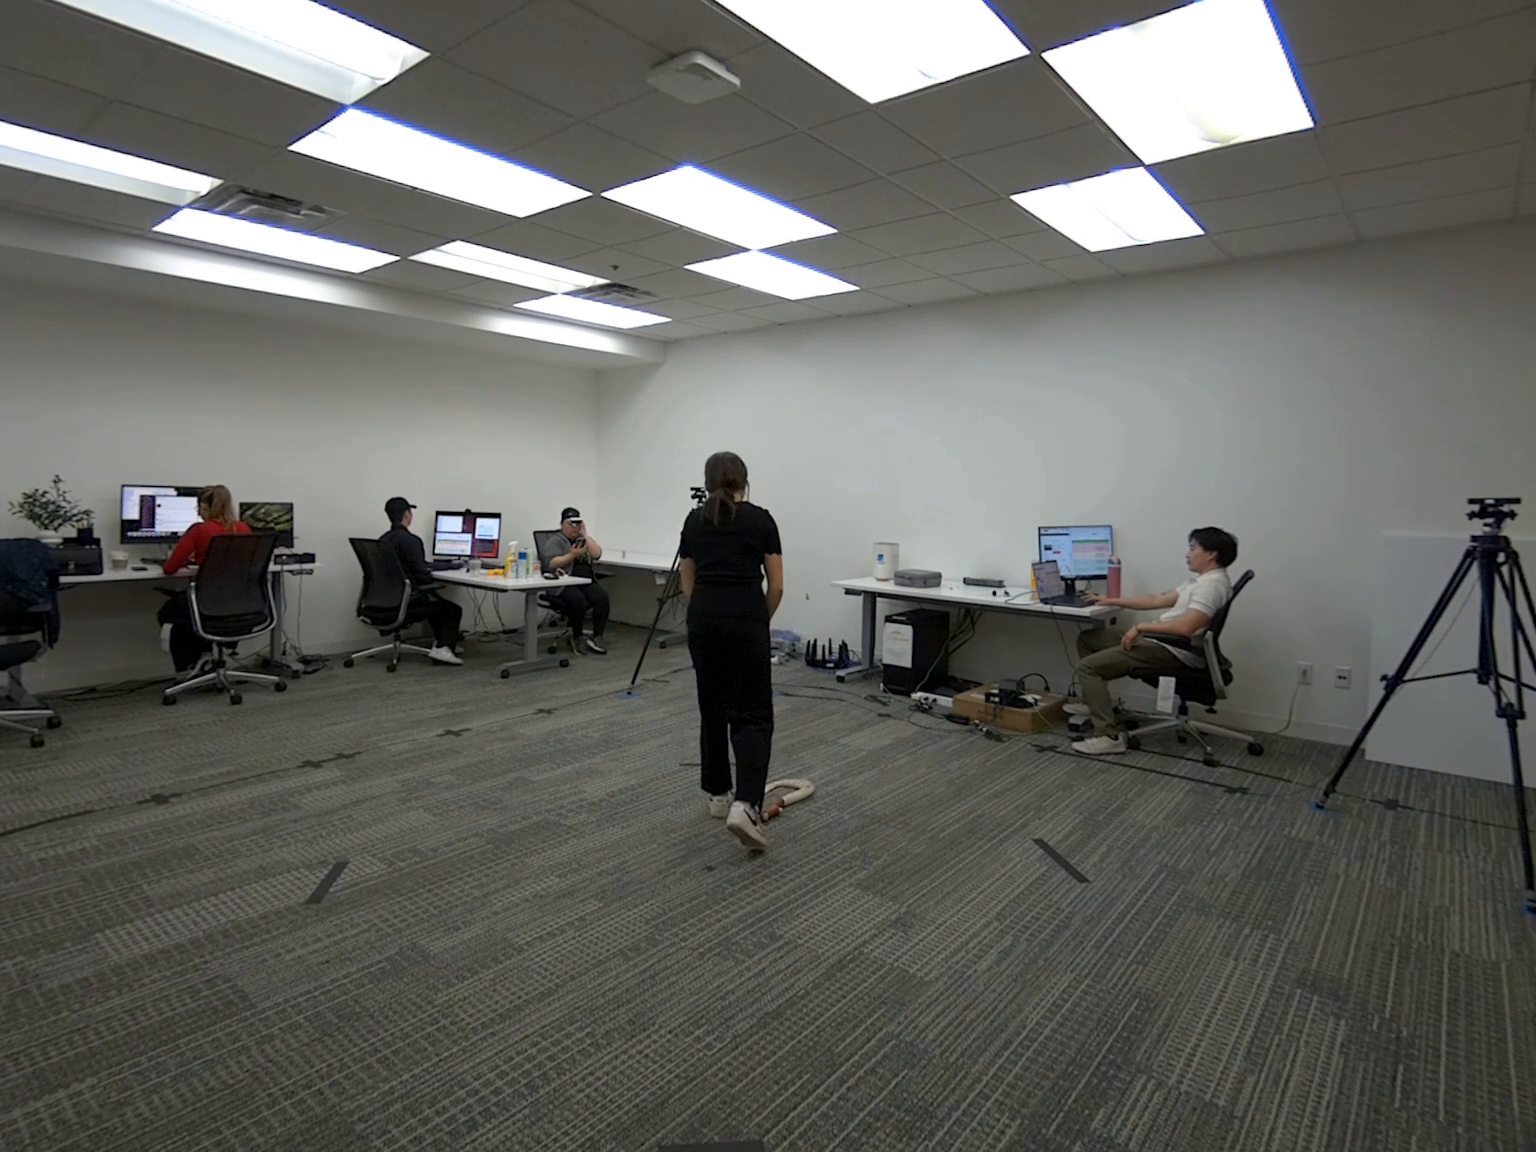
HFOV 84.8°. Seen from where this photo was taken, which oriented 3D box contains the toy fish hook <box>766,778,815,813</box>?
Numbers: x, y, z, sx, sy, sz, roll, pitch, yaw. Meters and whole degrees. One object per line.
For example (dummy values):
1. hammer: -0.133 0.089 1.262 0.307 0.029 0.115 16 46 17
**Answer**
1. toy fish hook: 0.025 0.987 3.790 0.230 0.048 0.495 -4 2 26
